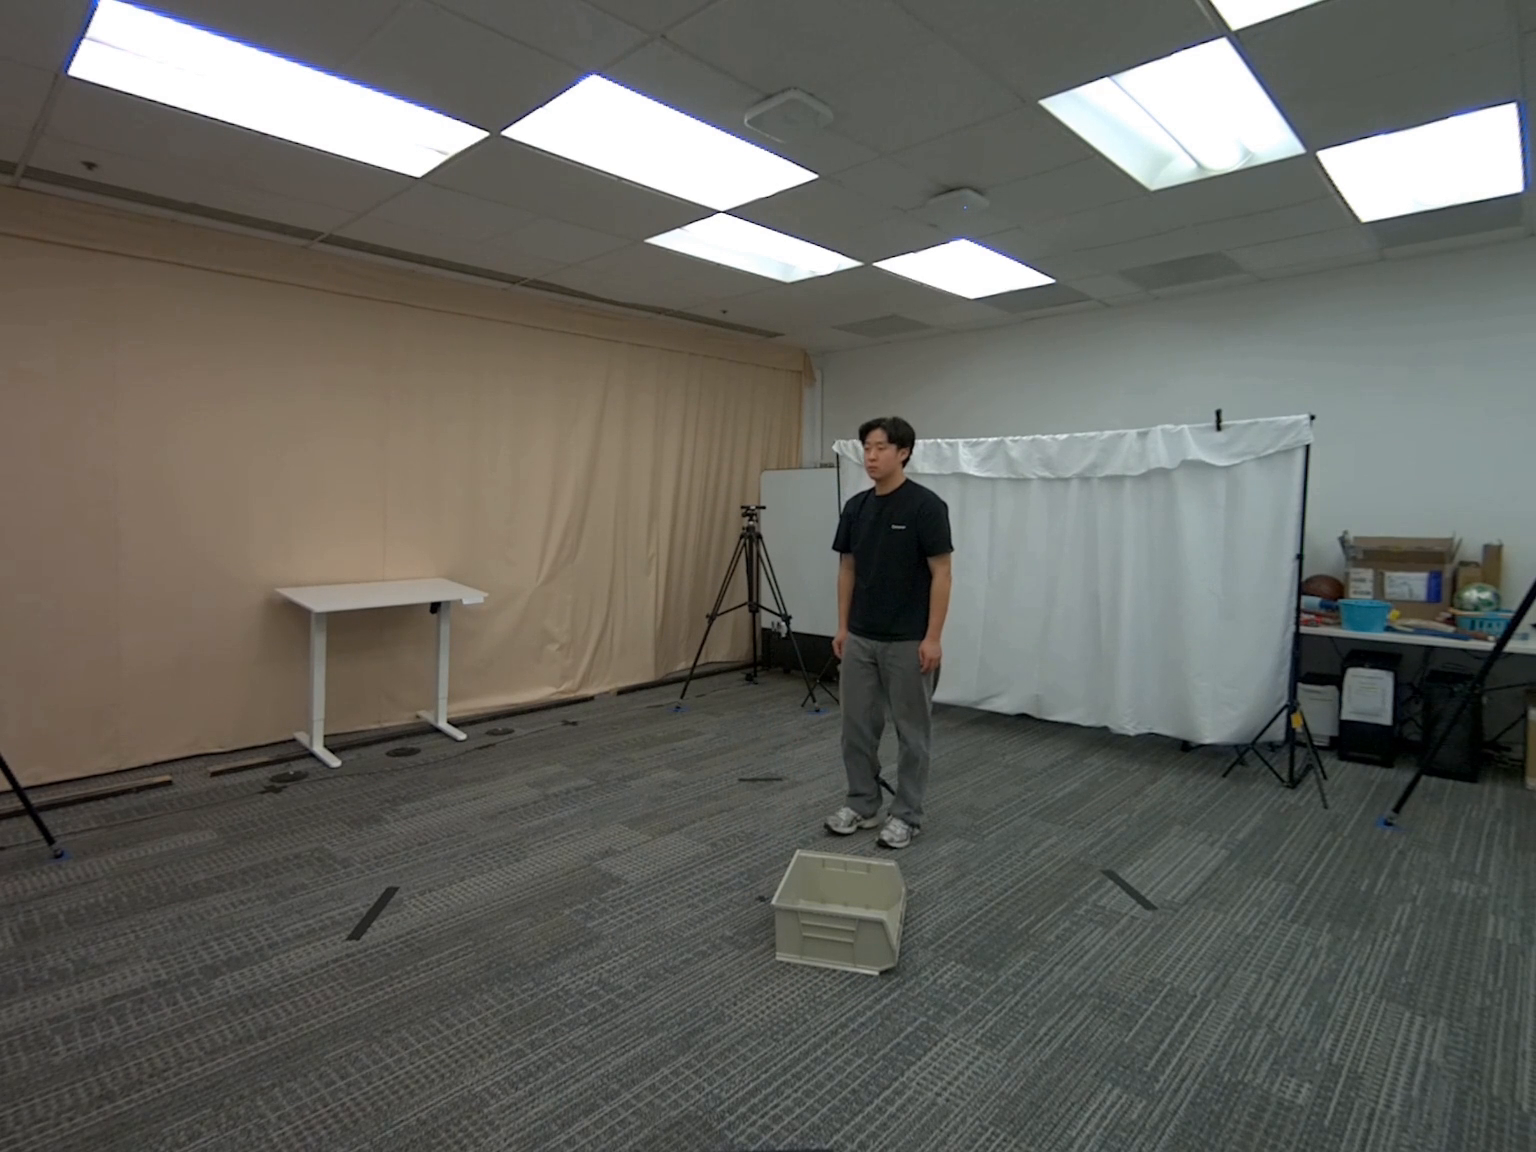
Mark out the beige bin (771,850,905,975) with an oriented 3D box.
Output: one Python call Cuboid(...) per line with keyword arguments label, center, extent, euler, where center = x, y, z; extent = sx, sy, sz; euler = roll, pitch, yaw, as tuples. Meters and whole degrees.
Cuboid(label="beige bin", center=(0.246, 1.075, 2.722), extent=(0.384, 0.188, 0.416), euler=(-1, 5, 15))
